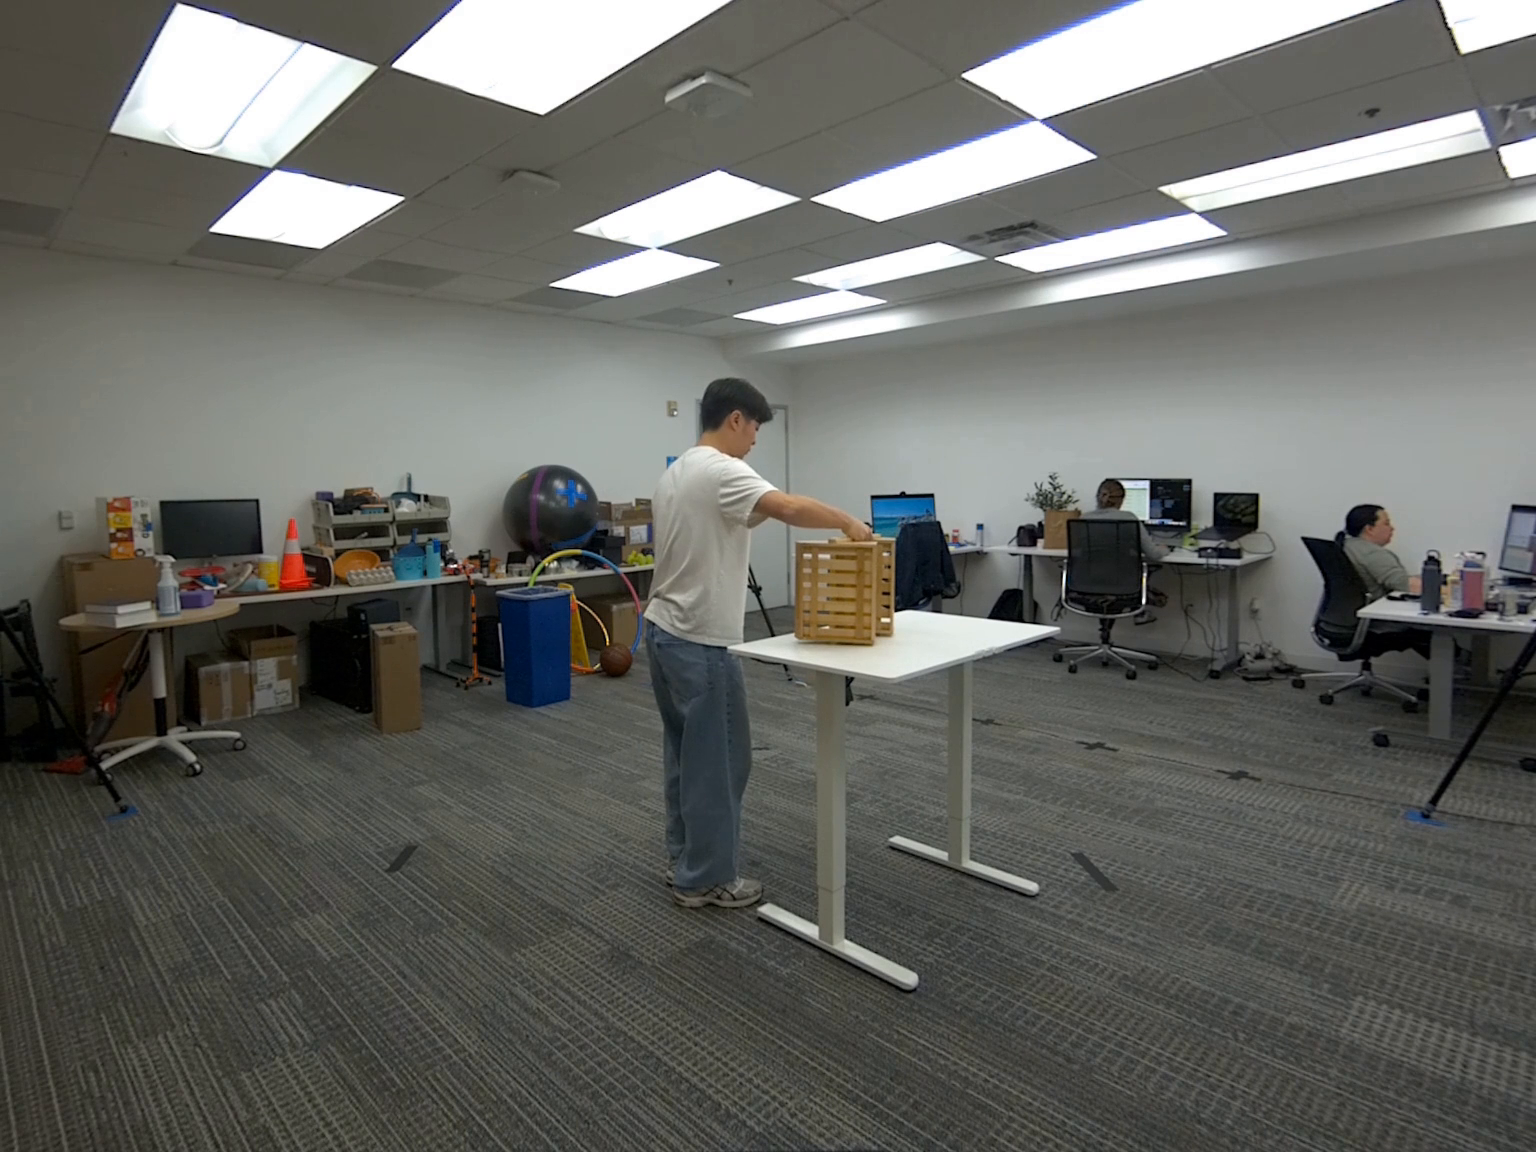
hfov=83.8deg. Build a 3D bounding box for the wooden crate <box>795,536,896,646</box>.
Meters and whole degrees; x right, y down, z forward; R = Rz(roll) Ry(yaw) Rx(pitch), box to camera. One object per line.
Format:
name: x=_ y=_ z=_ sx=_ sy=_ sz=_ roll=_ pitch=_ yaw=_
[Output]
wooden crate: x=0.246 y=0.040 z=2.718 sx=0.306 sy=0.323 sz=0.271 roll=1 pitch=5 yaw=12
